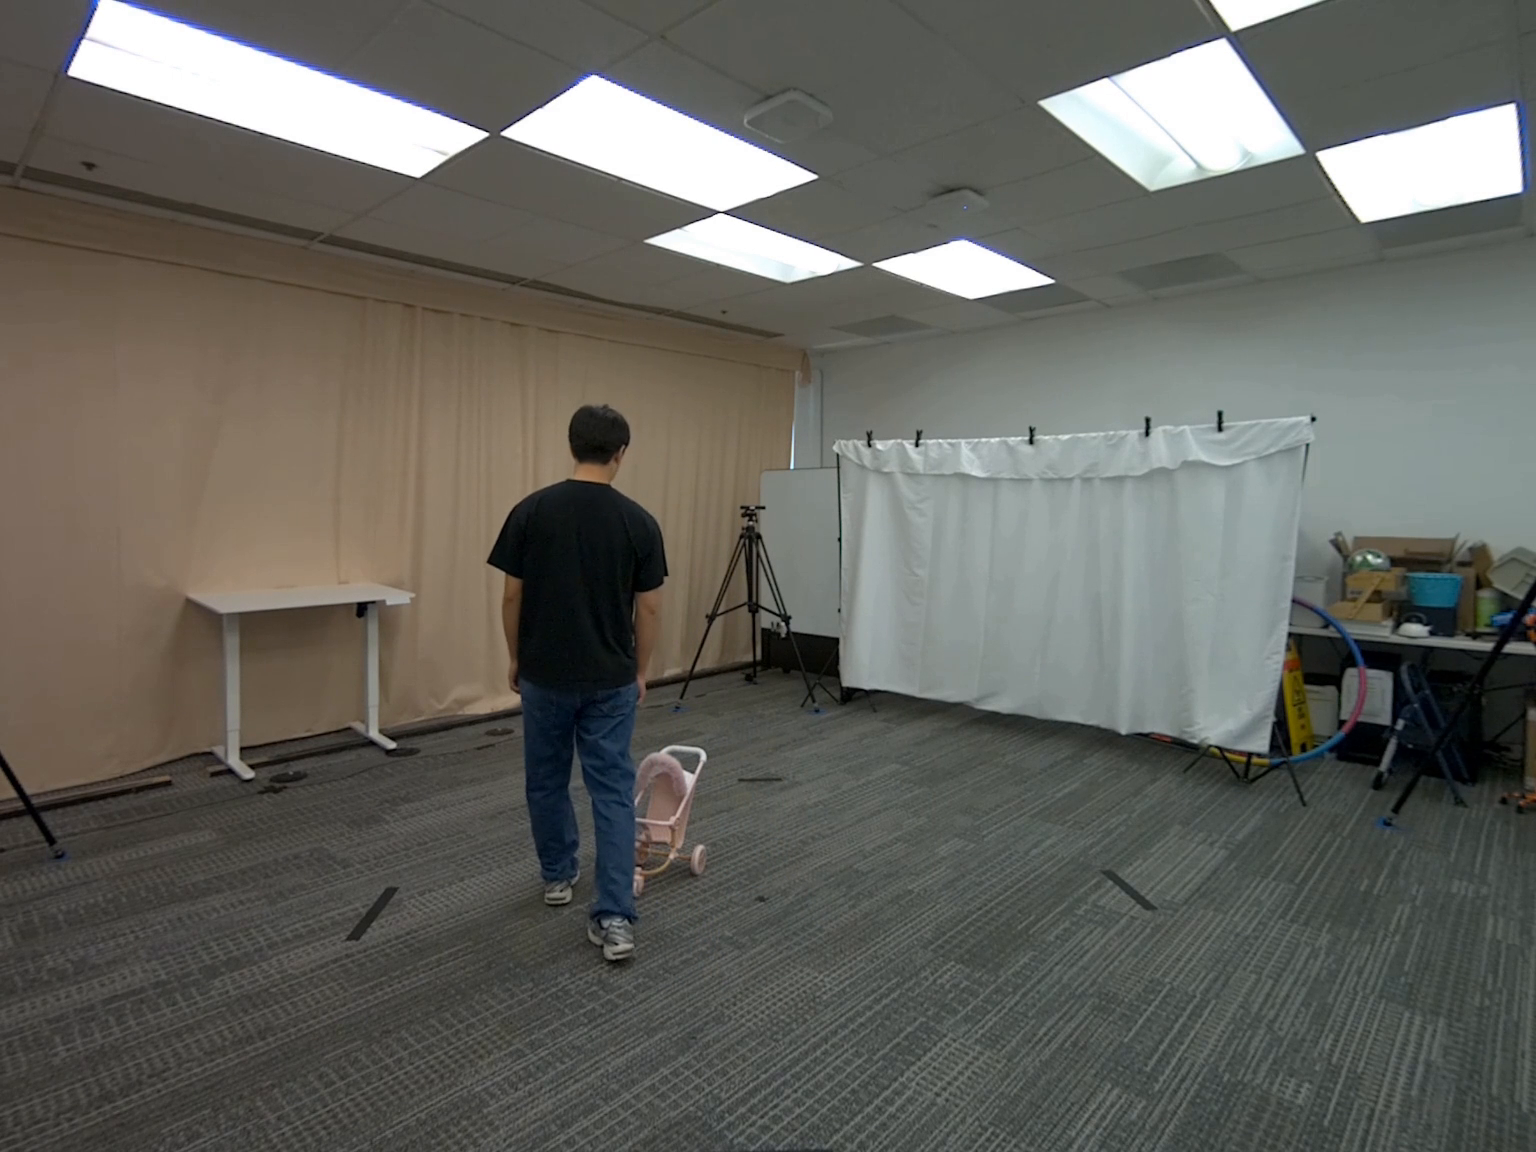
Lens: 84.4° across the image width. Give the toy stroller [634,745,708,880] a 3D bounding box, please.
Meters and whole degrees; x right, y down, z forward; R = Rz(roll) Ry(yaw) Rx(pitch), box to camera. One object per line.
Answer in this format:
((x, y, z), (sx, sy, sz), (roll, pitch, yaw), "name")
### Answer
((-0.405, 0.907, 3.170), (0.289, 0.538, 0.330), (0, -13, 27), "toy stroller")
